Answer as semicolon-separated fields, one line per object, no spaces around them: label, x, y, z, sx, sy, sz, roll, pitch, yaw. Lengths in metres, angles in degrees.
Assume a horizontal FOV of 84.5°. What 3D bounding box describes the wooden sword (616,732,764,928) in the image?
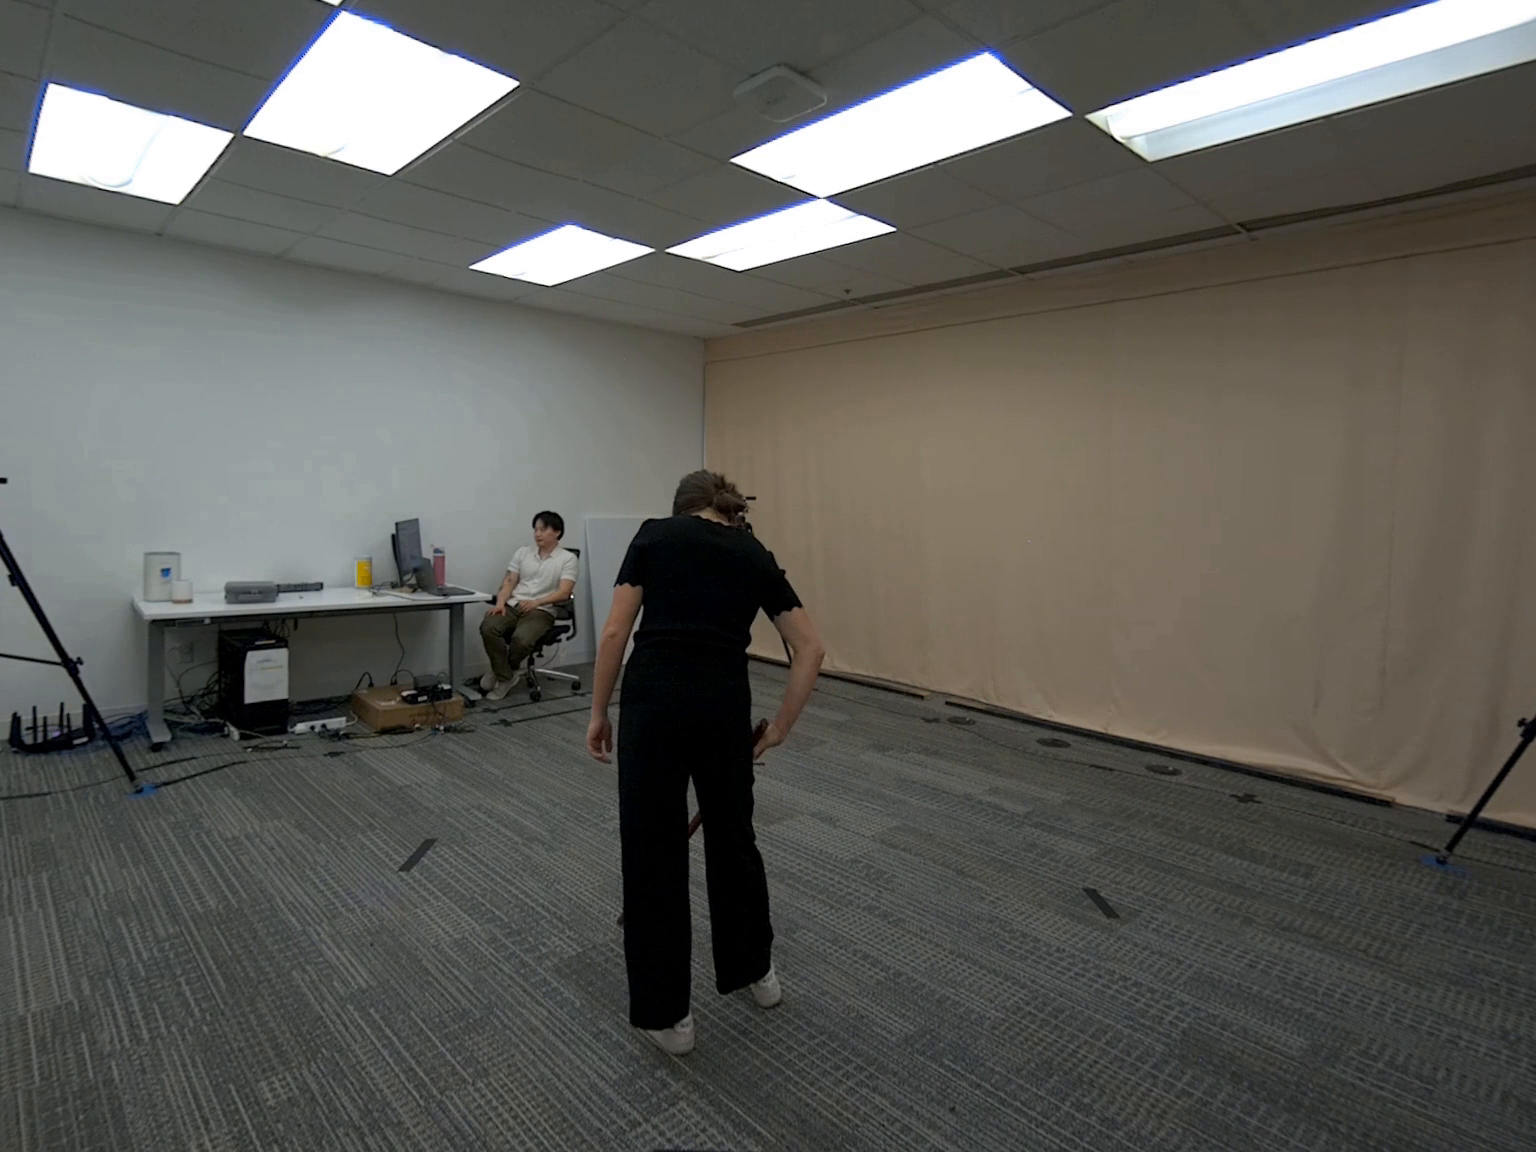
wooden sword;-0.252;0.795;2.483;0.024;1.021;0.051;46;32;13
